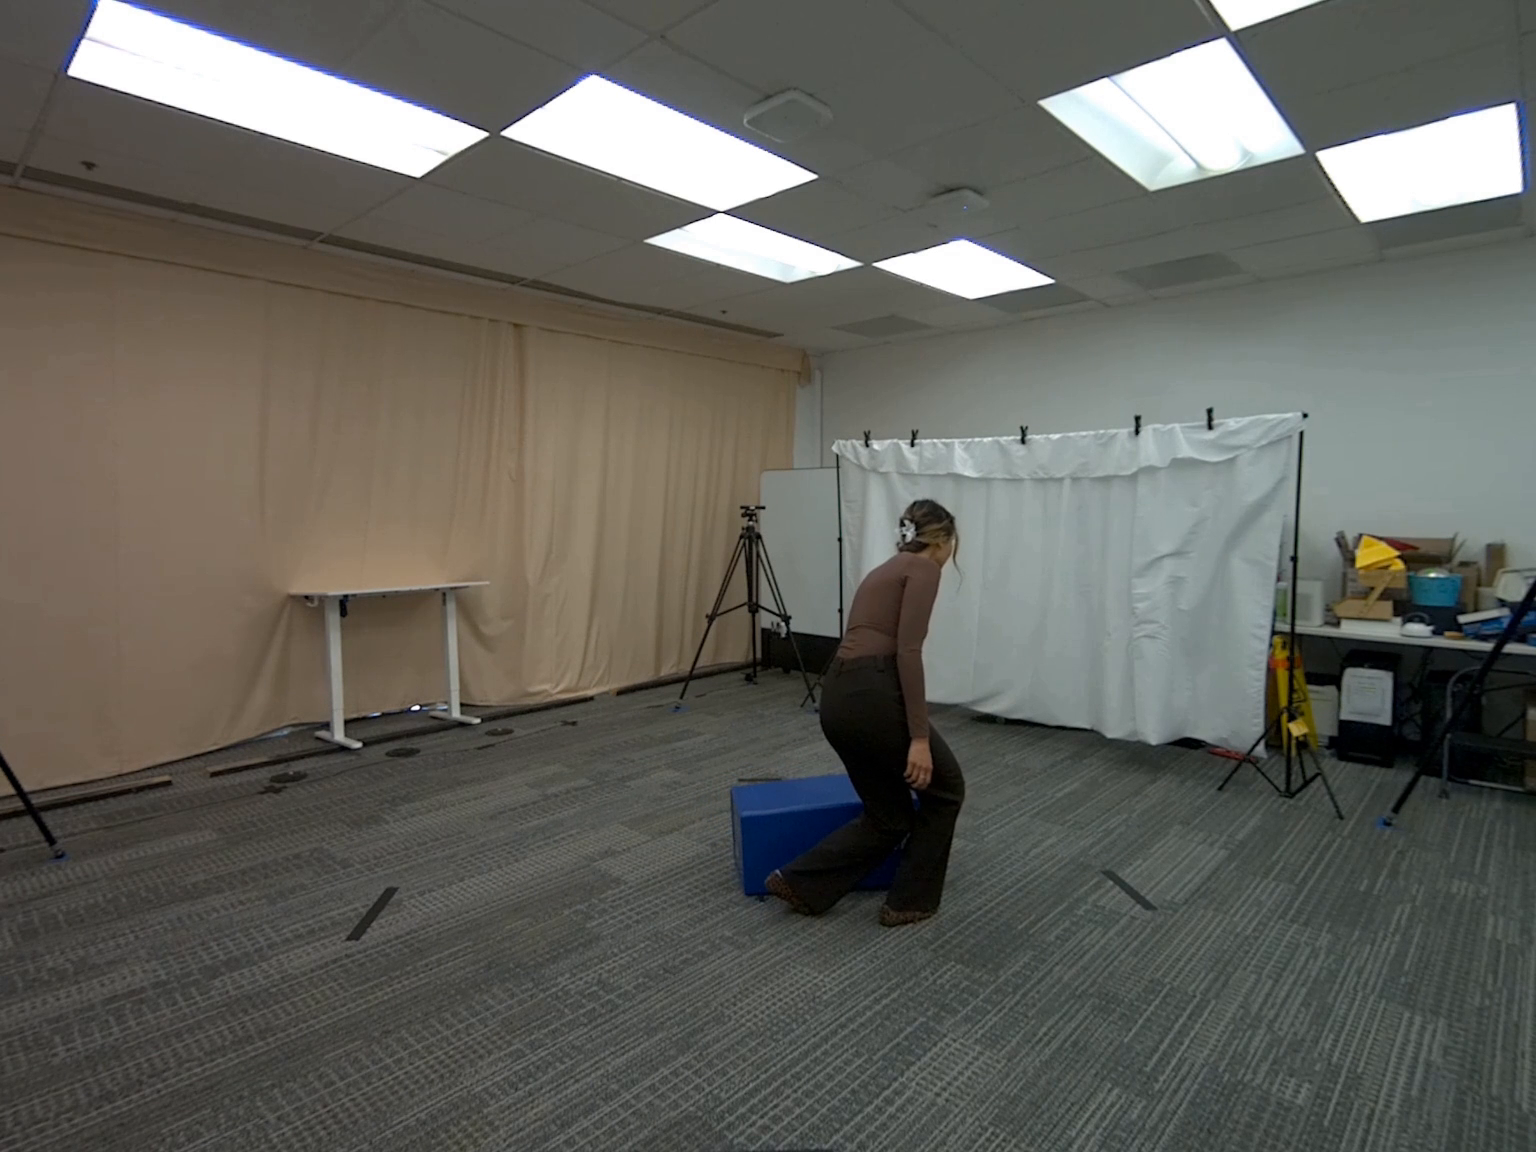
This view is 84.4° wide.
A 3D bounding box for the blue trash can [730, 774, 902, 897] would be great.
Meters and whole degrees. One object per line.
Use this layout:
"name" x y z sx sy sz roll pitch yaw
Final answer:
"blue trash can" 0.240 0.960 3.169 0.708 0.377 0.378 -4 5 -8
